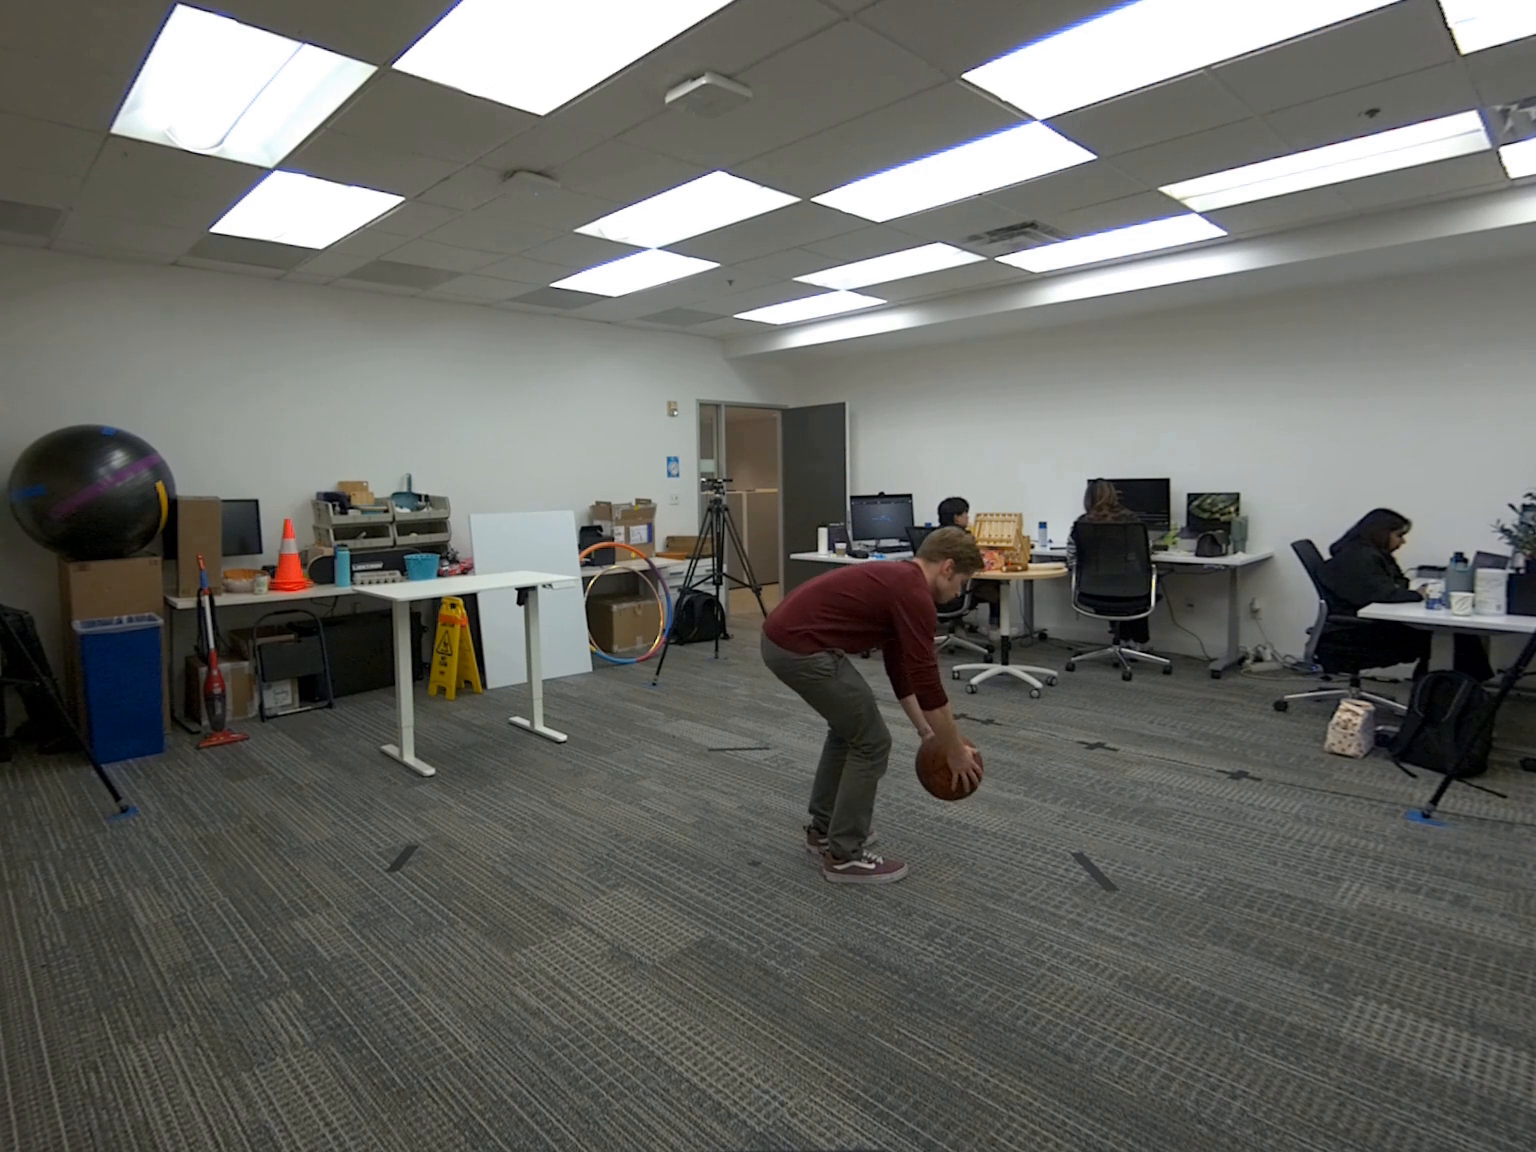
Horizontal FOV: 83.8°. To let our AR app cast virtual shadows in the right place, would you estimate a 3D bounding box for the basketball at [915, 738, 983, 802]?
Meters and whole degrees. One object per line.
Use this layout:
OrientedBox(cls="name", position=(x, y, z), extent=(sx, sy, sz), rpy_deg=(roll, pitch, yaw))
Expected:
OrientedBox(cls="basketball", position=(0.651, 0.669, 3.091), extent=(0.236, 0.235, 0.237), rpy_deg=(-1, 5, -2))
